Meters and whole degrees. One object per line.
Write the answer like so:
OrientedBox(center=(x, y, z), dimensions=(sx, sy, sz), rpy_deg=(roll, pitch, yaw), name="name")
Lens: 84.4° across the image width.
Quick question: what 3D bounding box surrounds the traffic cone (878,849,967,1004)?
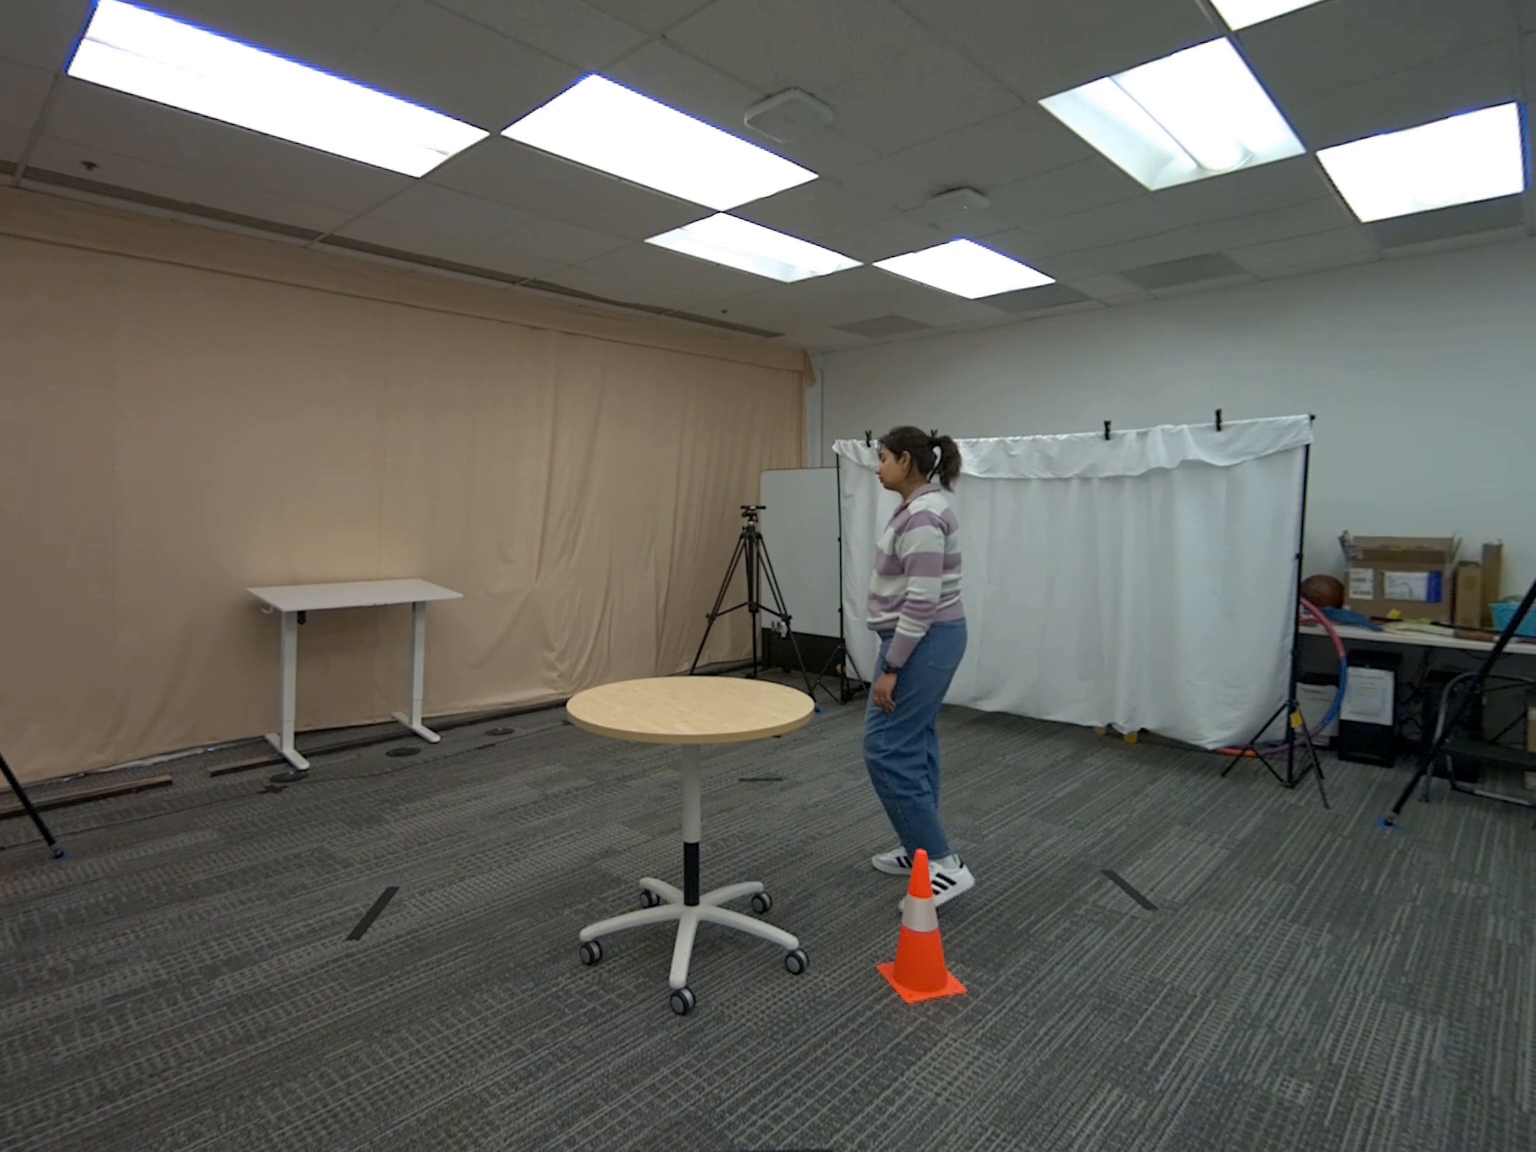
OrientedBox(center=(0.453, 1.008, 2.466), dimensions=(0.200, 0.382, 0.208), rpy_deg=(-2, 5, -14), name="traffic cone")
